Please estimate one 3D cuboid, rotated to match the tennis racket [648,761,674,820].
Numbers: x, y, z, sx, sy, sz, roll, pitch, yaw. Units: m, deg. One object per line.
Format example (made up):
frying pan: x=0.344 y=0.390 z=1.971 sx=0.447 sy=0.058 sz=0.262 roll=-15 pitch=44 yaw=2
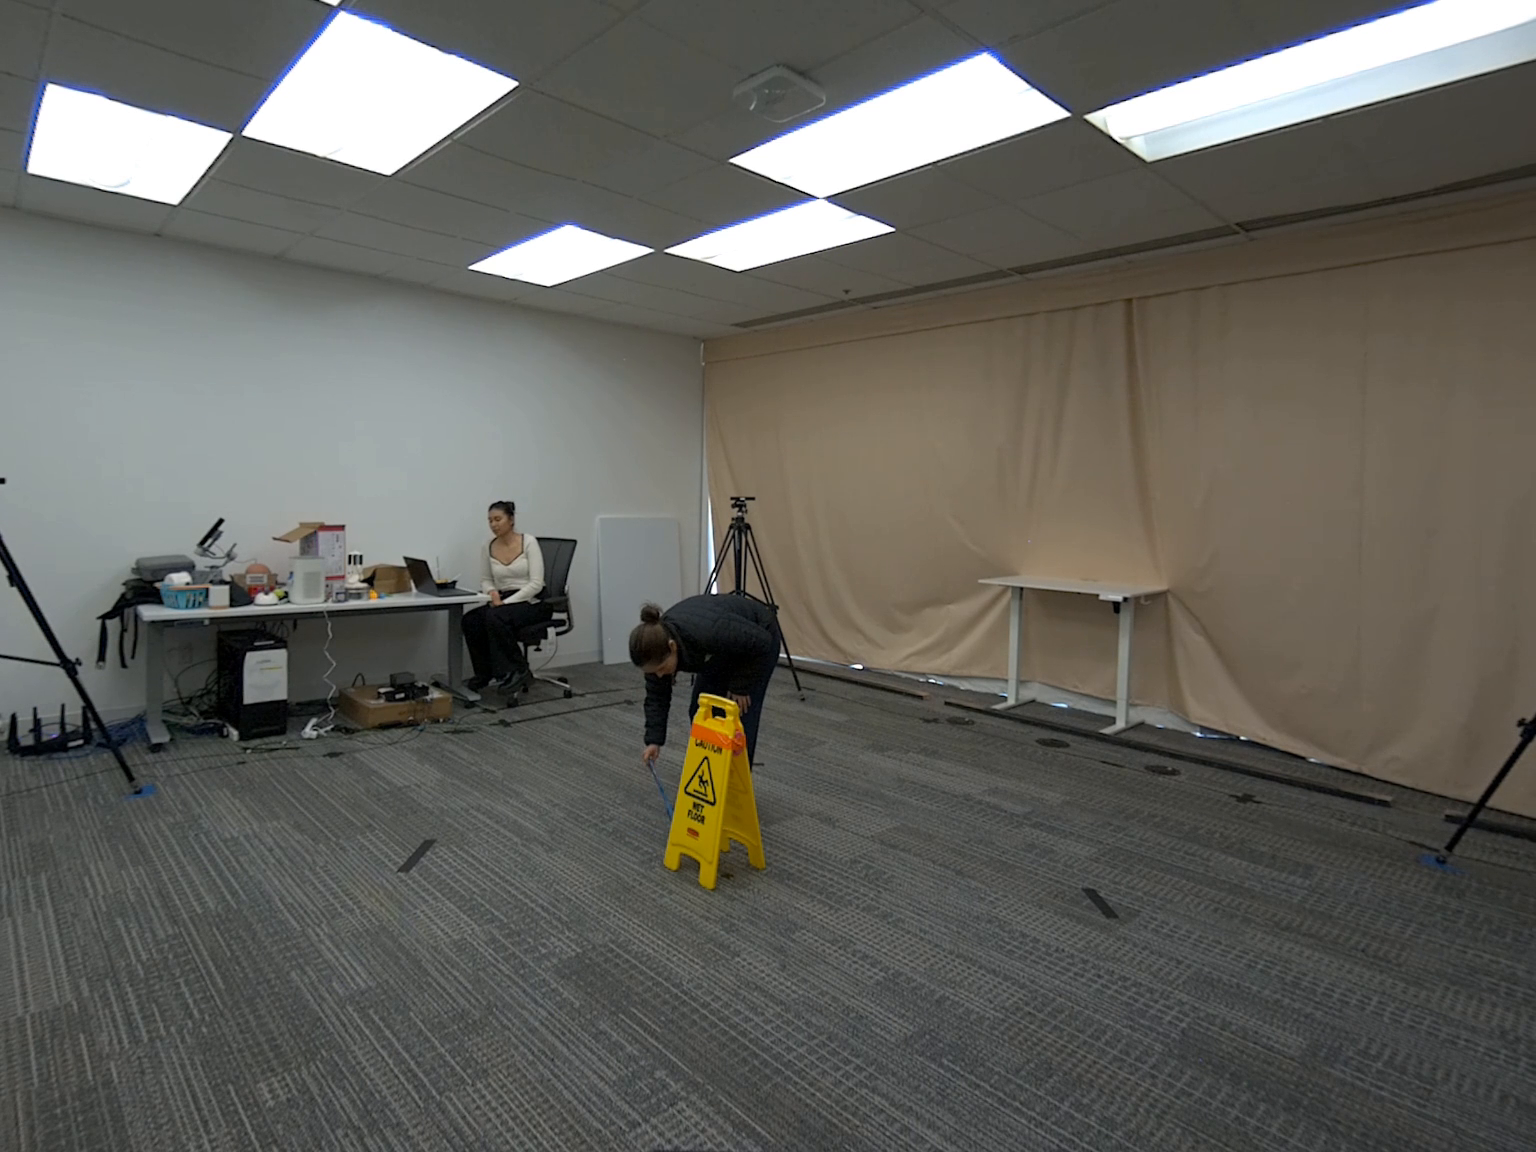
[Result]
tennis racket: x=-0.429 y=0.936 z=3.475 sx=0.031 sy=0.209 sz=0.445 roll=-22 pitch=30 yaw=-9
